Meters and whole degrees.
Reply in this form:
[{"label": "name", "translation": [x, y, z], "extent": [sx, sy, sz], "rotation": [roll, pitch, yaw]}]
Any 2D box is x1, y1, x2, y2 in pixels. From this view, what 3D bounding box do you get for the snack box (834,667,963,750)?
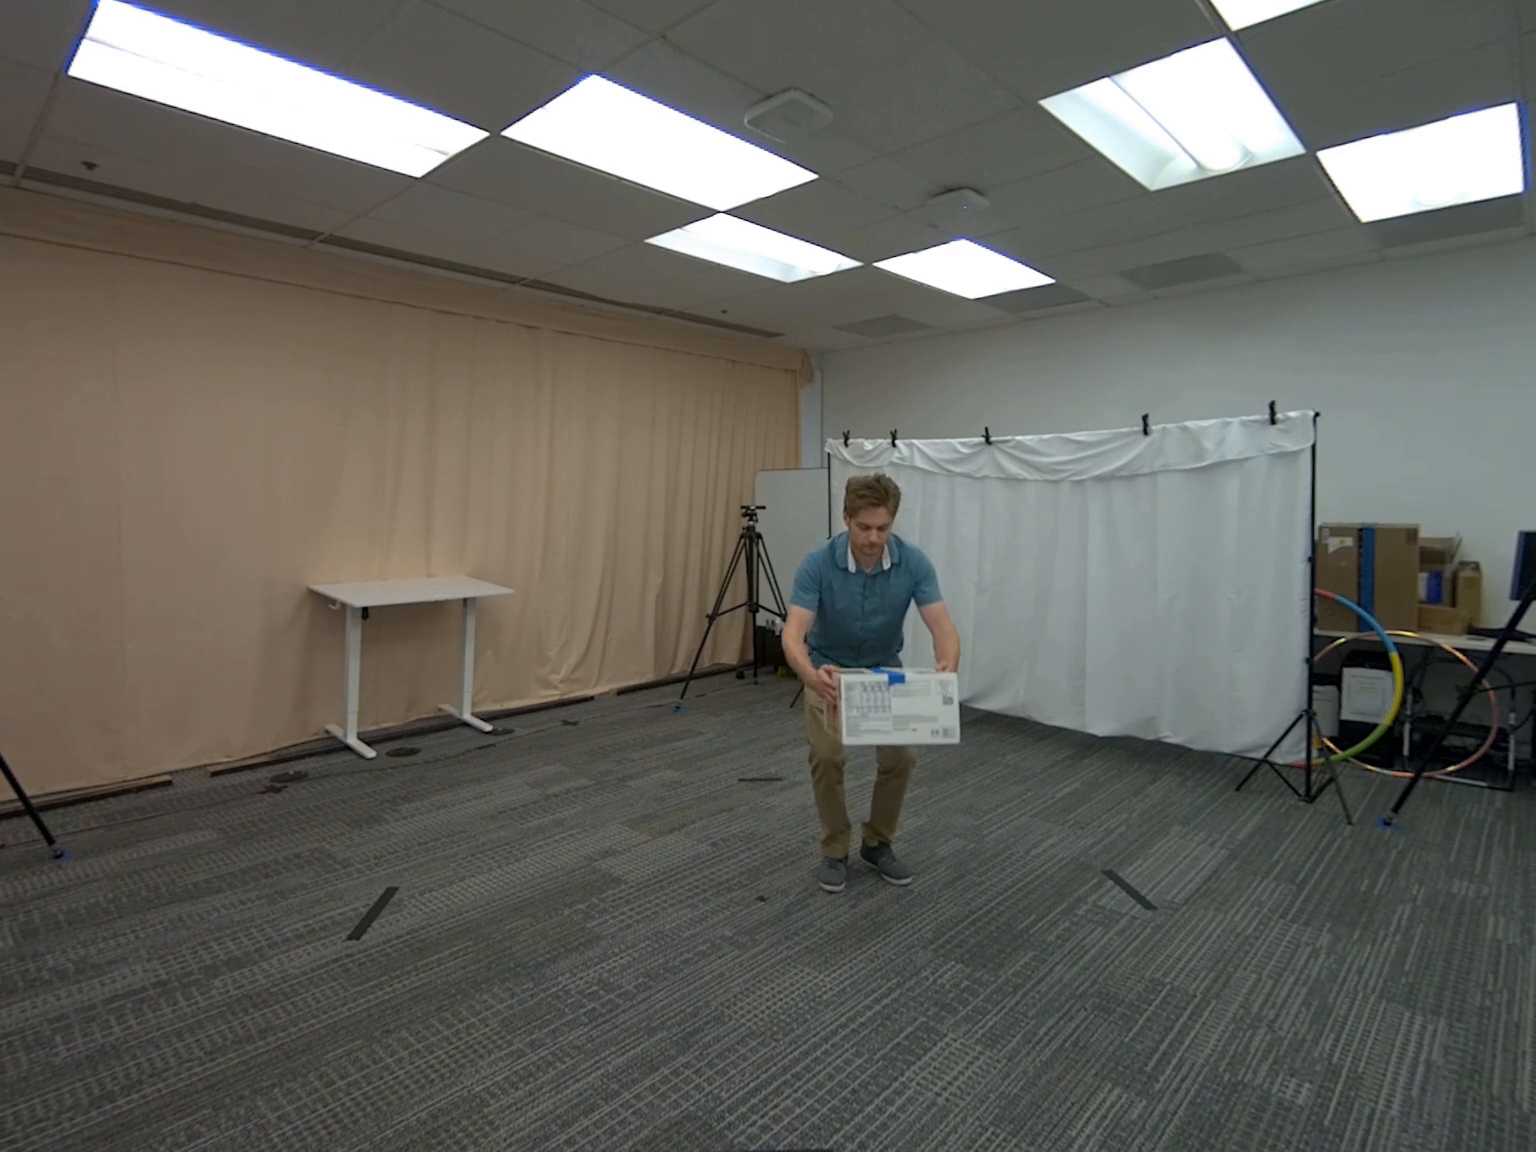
[{"label": "snack box", "translation": [0.367, 0.397, 2.616], "extent": [0.340, 0.206, 0.404], "rotation": [-1, -4, -2]}]
